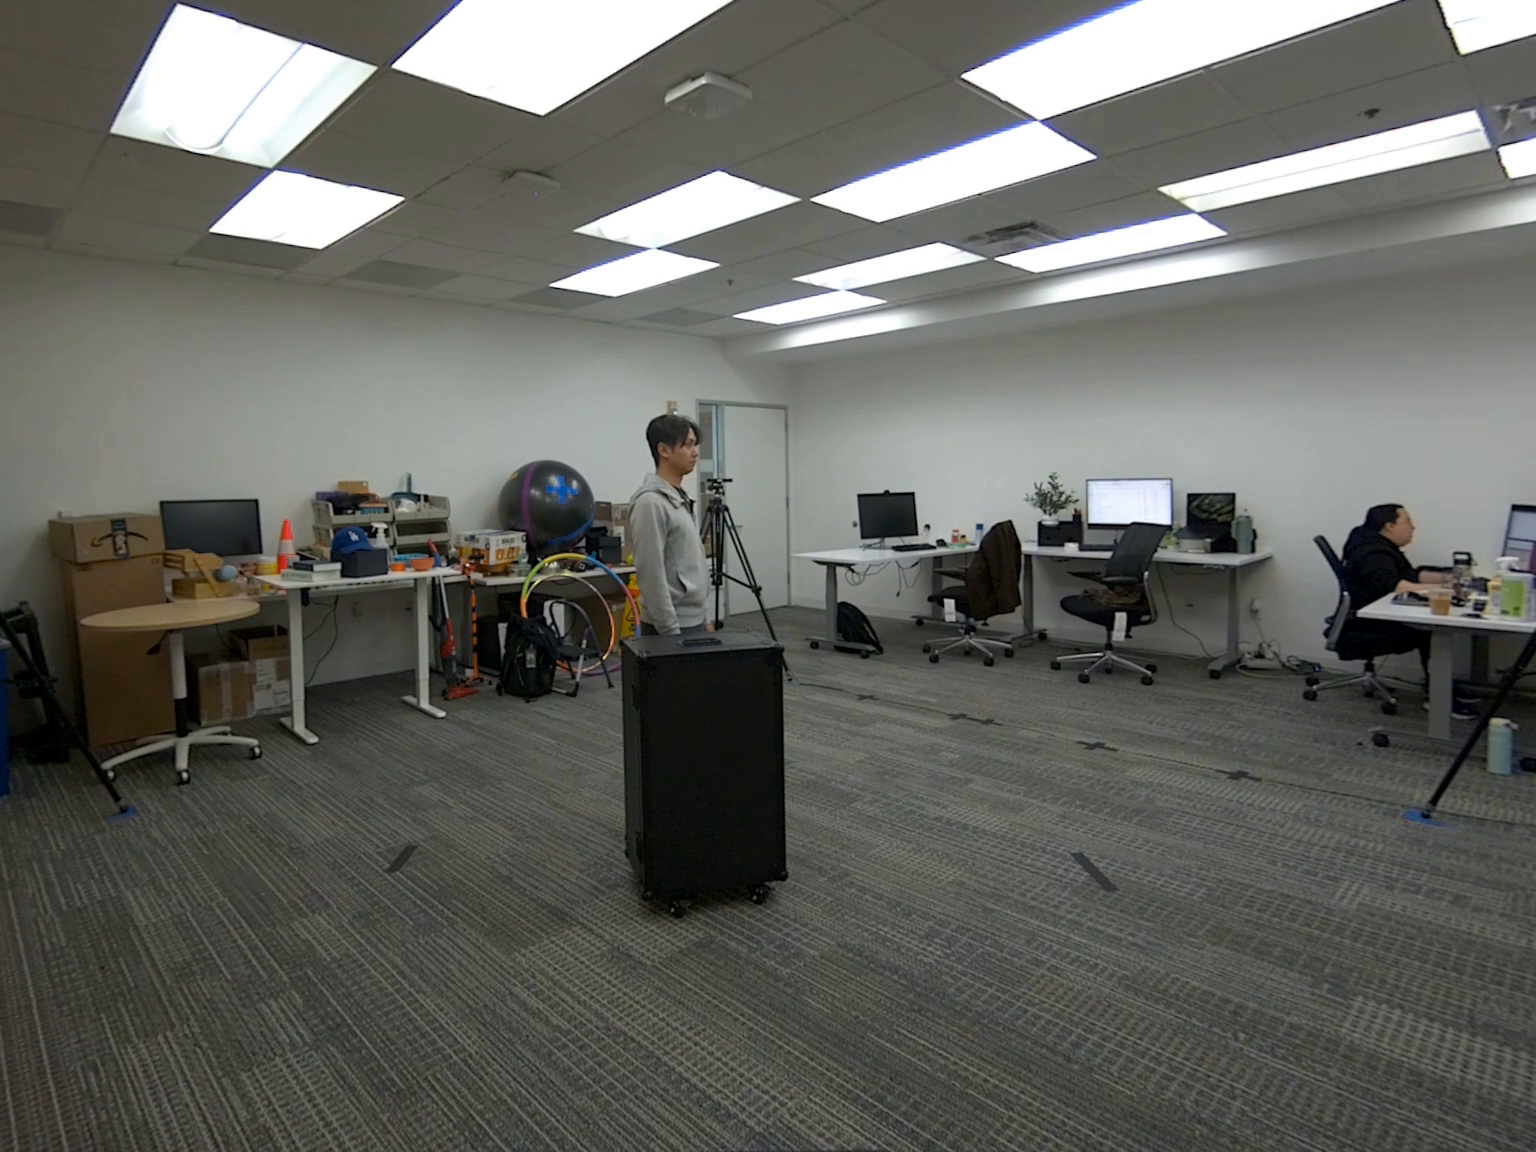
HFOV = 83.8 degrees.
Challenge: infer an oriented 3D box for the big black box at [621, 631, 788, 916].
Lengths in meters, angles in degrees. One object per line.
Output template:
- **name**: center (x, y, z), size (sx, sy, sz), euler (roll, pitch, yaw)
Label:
- **big black box**: center (-0.232, 0.642, 2.914), size (0.513, 0.859, 0.403), euler (-3, 3, -18)
